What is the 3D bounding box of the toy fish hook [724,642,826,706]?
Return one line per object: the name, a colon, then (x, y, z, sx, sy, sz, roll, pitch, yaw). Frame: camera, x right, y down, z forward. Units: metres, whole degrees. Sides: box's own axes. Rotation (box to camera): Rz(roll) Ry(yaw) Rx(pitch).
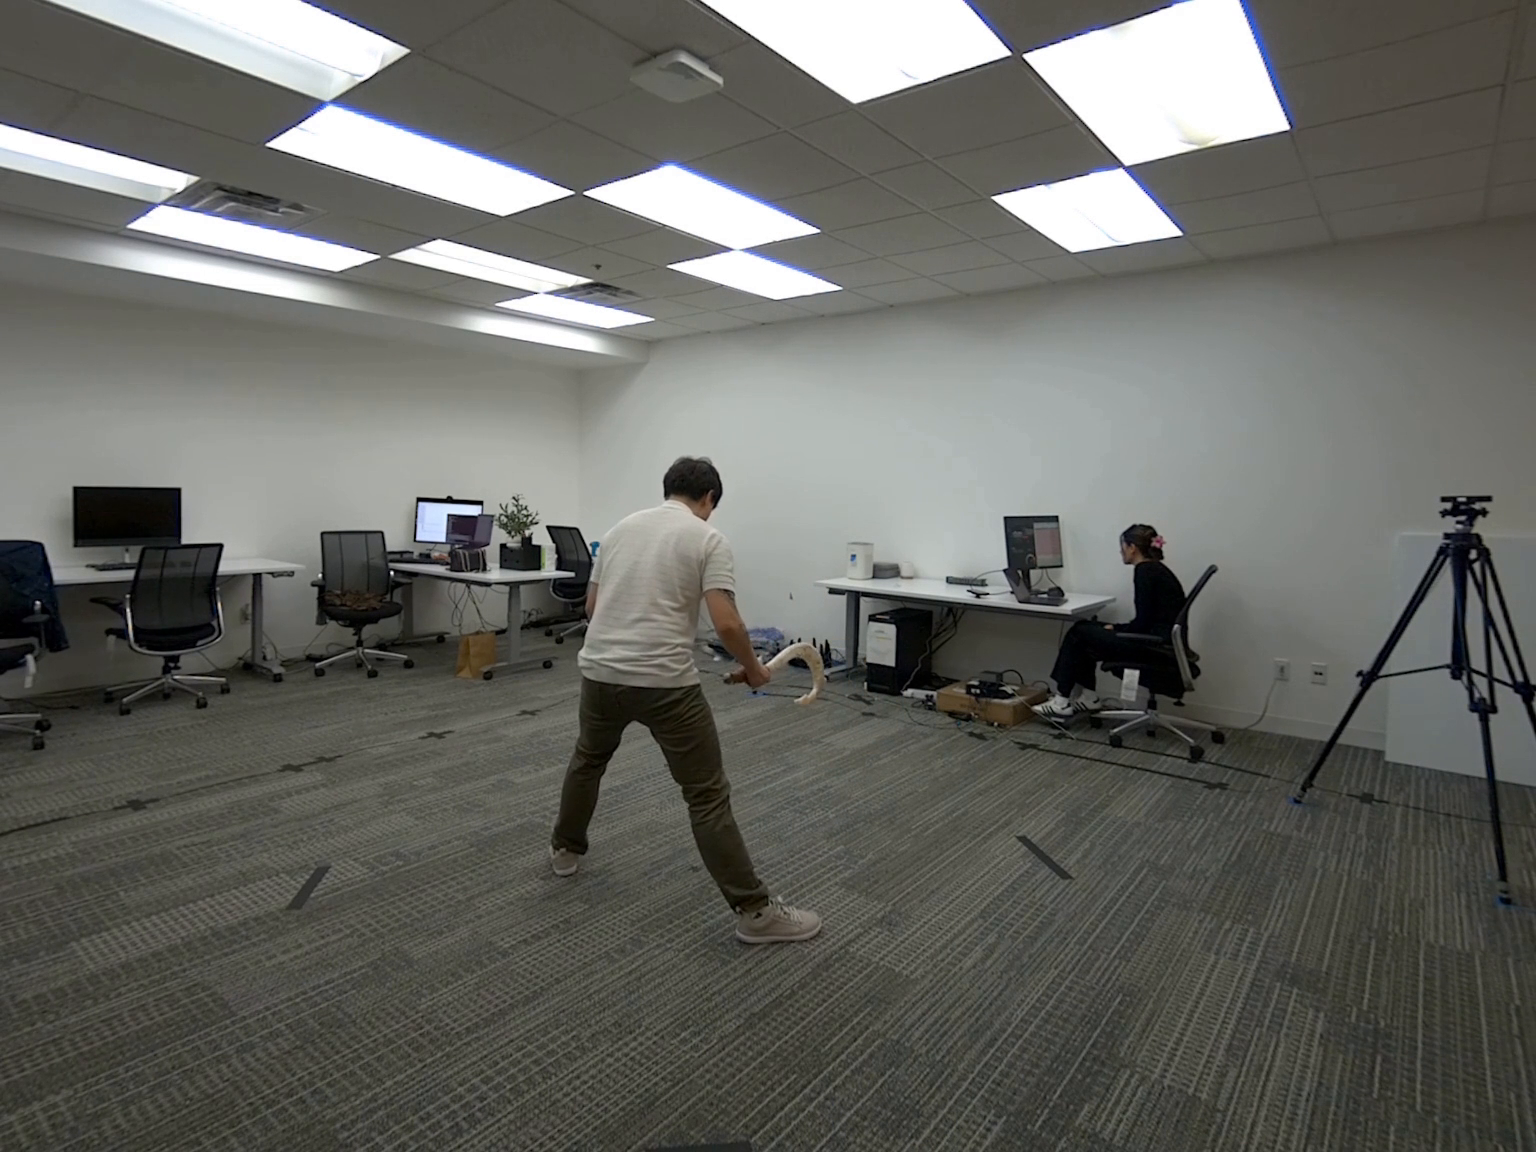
toy fish hook: (0.031, 0.373, 2.983, 0.493, 0.227, 0.049, -9, -12, -44)
